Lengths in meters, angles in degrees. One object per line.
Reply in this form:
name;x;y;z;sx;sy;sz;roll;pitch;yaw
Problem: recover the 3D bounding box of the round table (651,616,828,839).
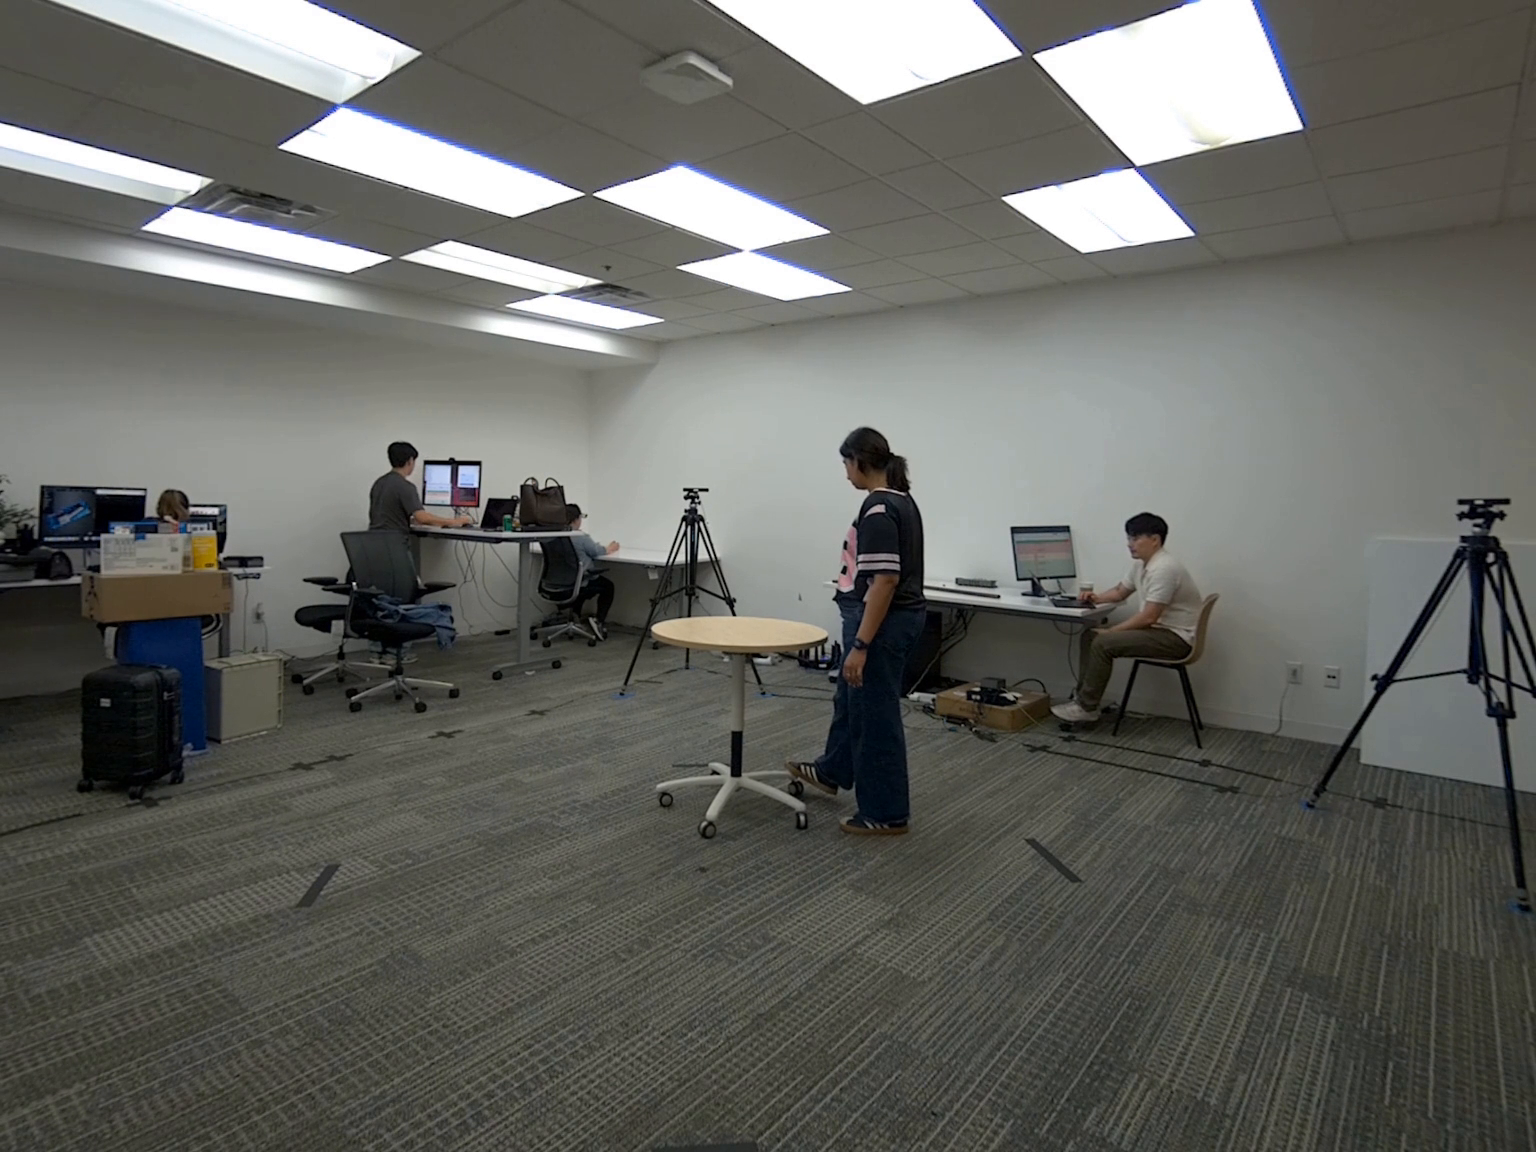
round table;-0.150;0.626;3.714;0.763;0.791;0.768;1;4;-2
